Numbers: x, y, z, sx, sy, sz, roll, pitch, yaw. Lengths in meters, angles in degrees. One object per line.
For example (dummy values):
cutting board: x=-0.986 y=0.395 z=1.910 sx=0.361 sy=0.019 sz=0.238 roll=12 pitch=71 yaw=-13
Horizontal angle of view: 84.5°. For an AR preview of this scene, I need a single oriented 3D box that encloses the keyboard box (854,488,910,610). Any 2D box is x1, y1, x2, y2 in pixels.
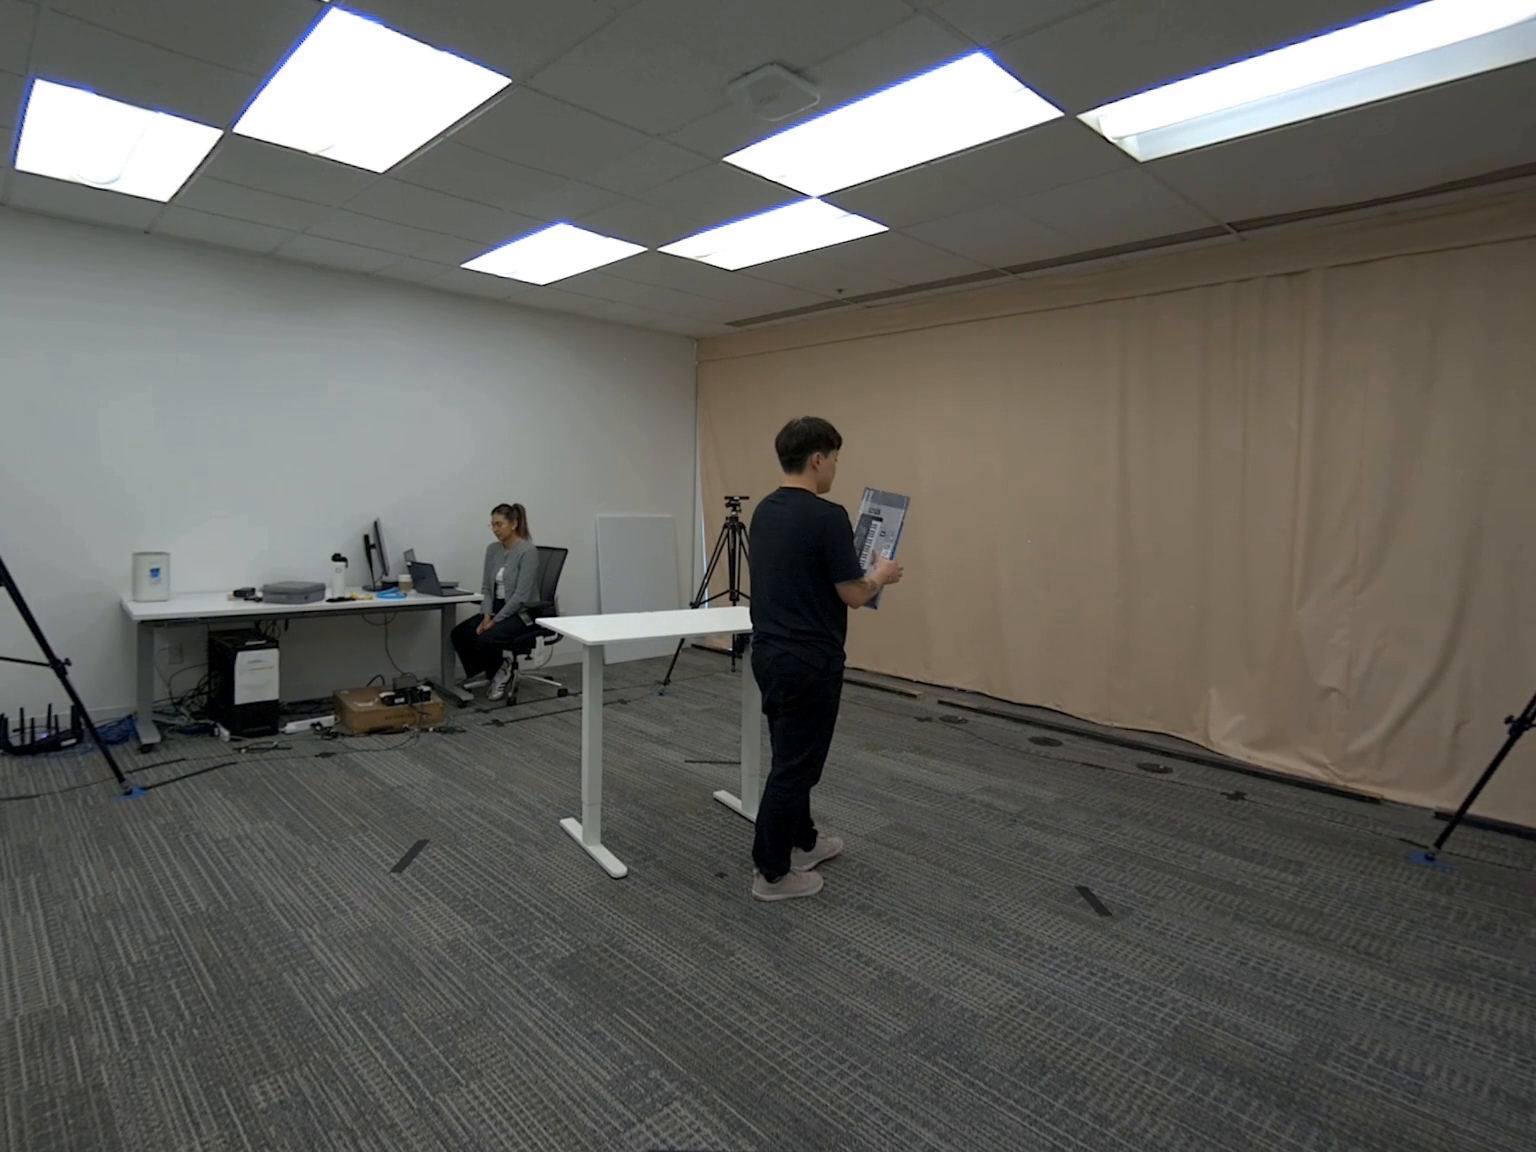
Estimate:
keyboard box: x=0.379 y=-0.103 z=3.103 sx=0.179 sy=0.439 sz=0.058 roll=16 pitch=-14 yaw=18
